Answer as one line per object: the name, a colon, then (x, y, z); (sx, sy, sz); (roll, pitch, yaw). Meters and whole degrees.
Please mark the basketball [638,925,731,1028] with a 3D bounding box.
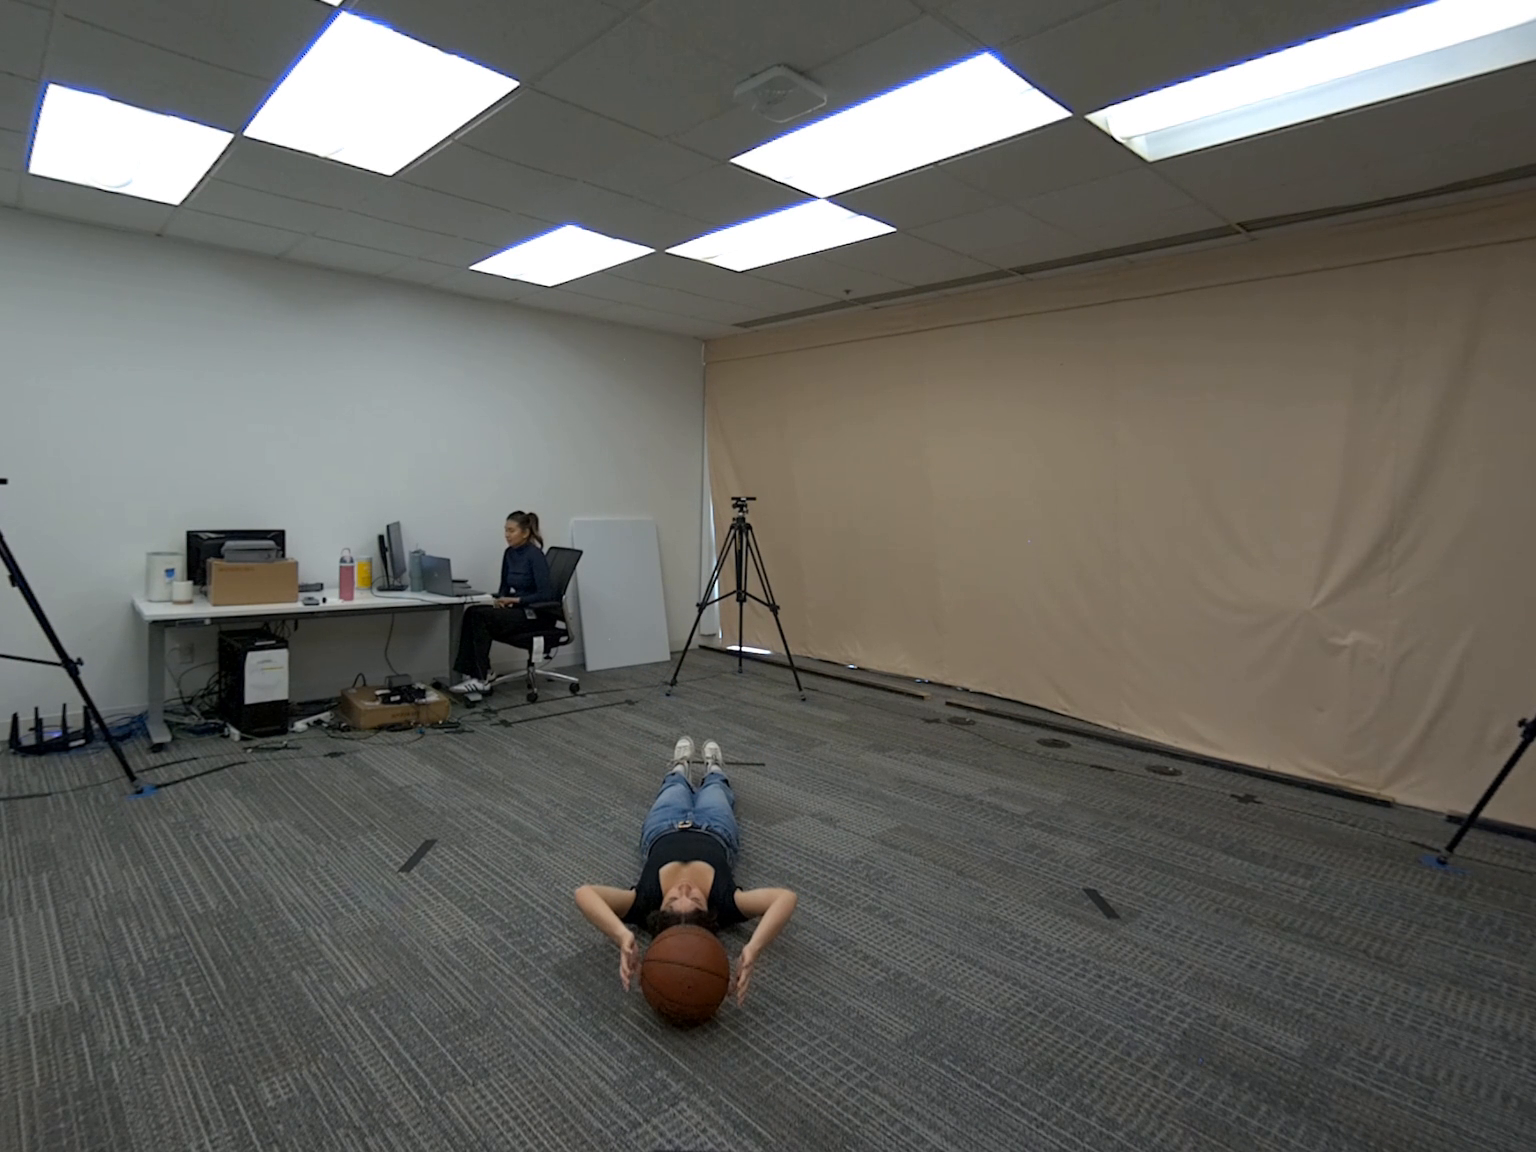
basketball: (-0.222, 1.066, 2.242); (0.236, 0.235, 0.237); (1, 4, -1)
